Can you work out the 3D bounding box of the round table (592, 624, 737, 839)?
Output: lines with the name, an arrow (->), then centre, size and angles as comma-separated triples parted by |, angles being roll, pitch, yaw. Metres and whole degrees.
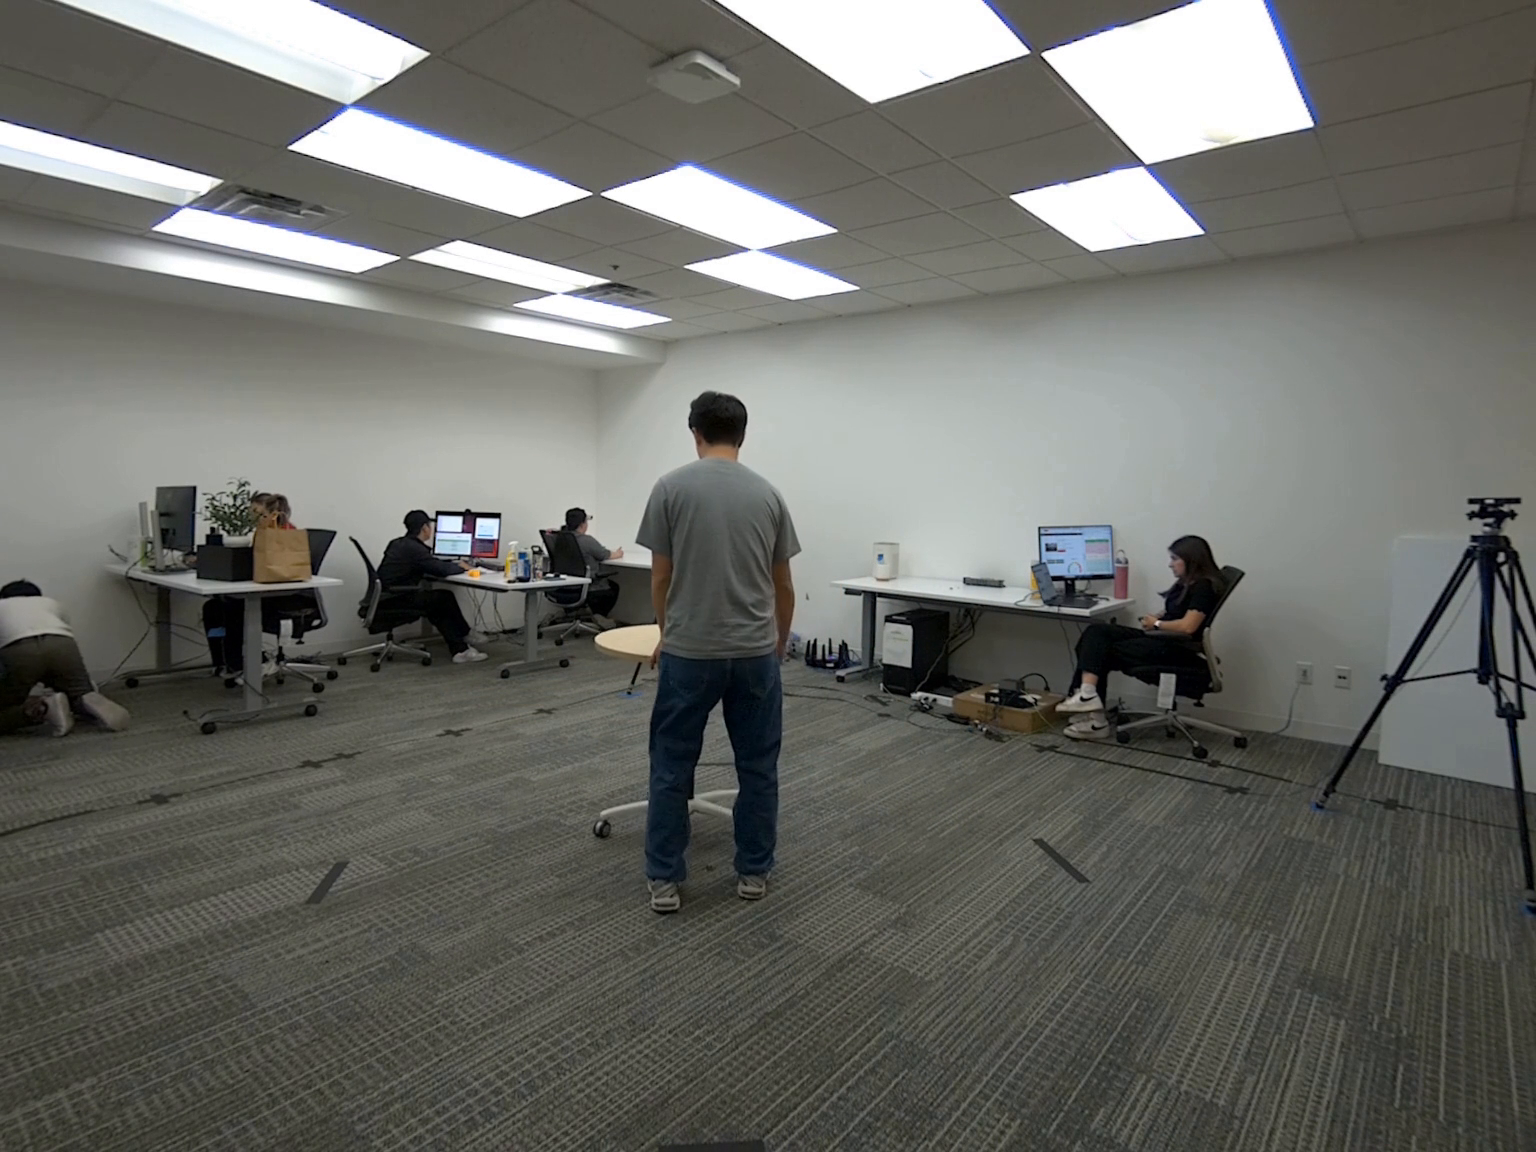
round table -> -0.323, 0.643, 3.408 | 0.763, 0.792, 0.767 | 1, 4, -2
